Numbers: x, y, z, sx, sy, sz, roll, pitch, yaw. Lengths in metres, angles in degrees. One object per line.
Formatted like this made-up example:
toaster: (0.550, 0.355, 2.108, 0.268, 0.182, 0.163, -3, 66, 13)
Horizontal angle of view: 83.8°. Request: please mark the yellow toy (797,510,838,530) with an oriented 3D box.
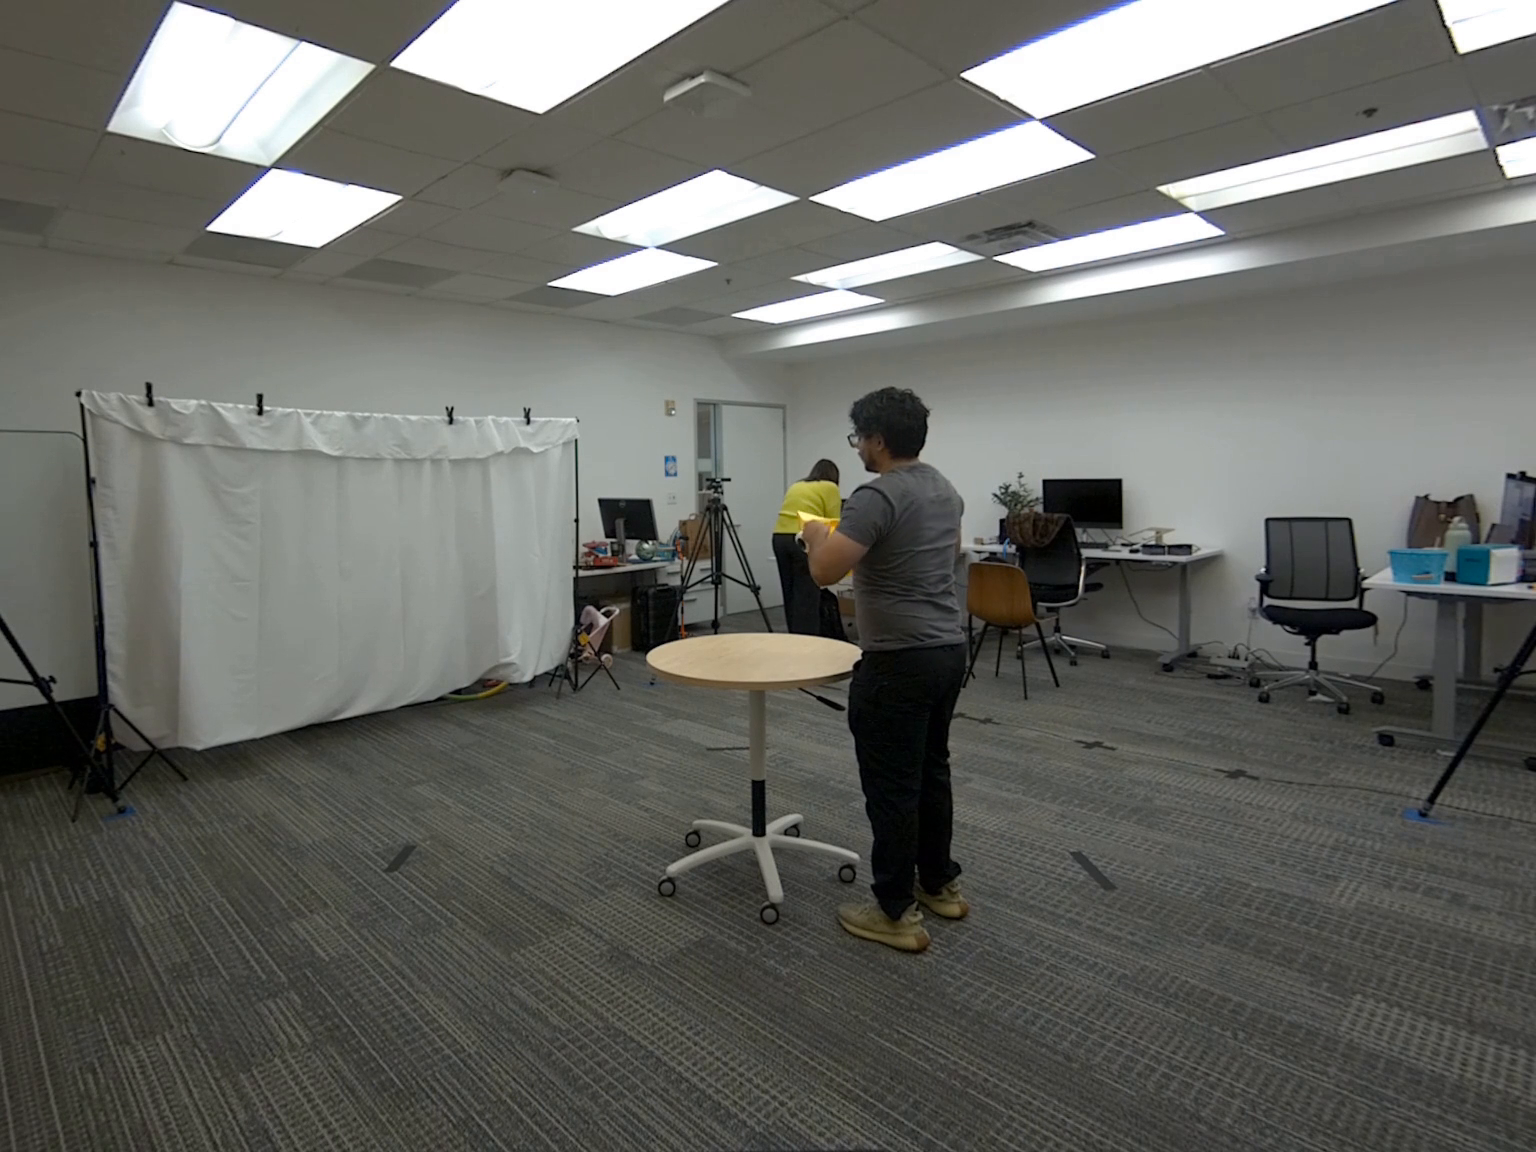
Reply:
yellow toy: (0.191, -0.116, 2.861, 0.239, 0.191, 0.199, 33, 24, 34)
